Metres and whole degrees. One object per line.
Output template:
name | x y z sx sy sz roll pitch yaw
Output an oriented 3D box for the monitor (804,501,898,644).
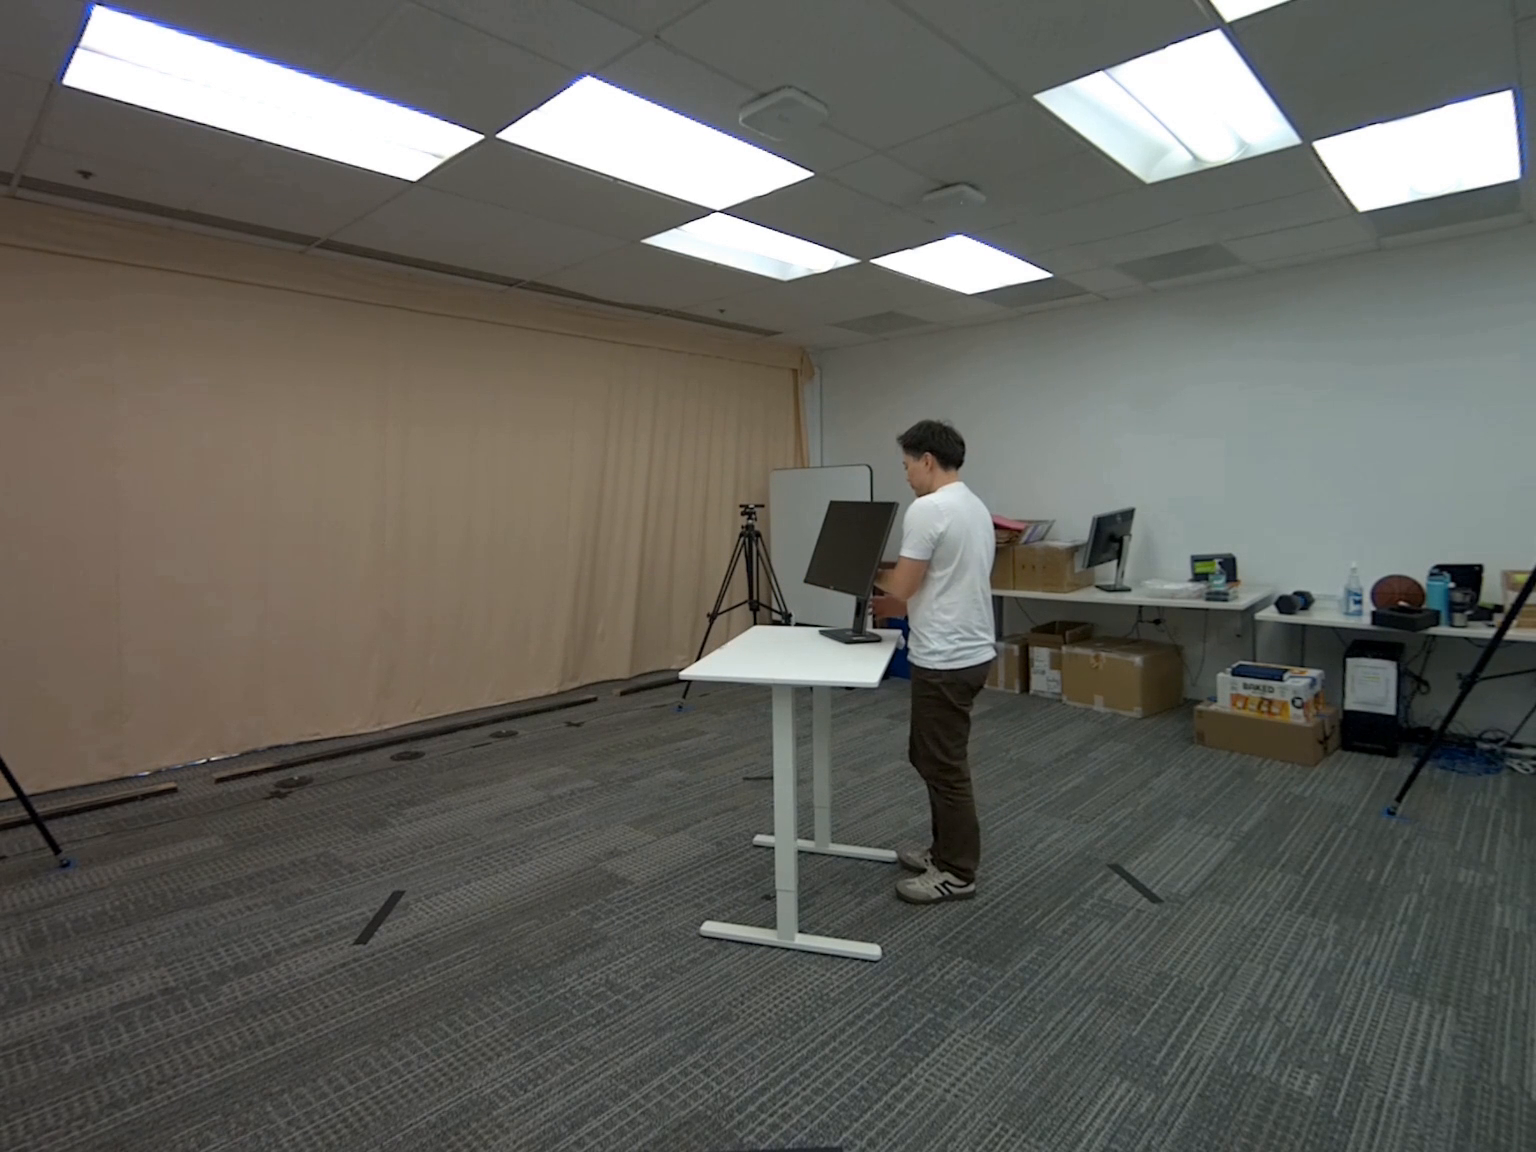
monitor | 0.330 -0.022 3.182 0.183 0.521 0.551 3 4 -21
